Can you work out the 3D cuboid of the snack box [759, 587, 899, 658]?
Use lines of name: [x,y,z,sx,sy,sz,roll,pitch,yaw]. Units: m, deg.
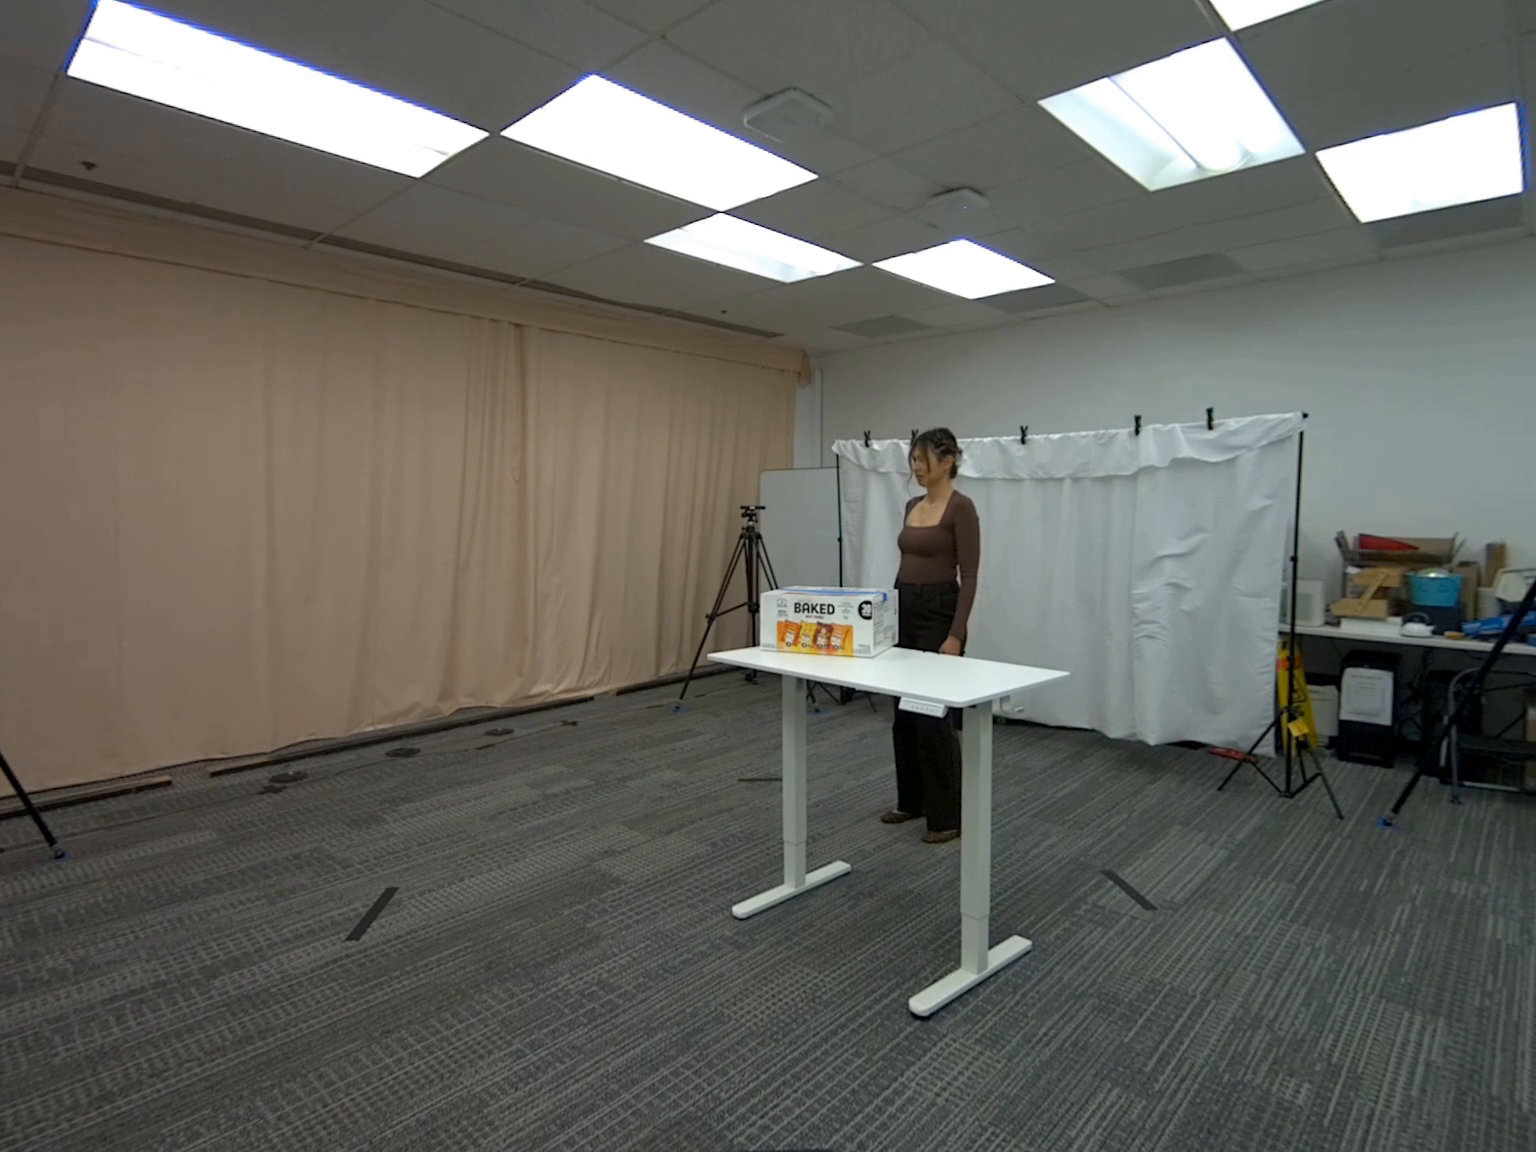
snack box: [0.230,0.157,3.033,0.415,0.205,0.332,2,5,25]
